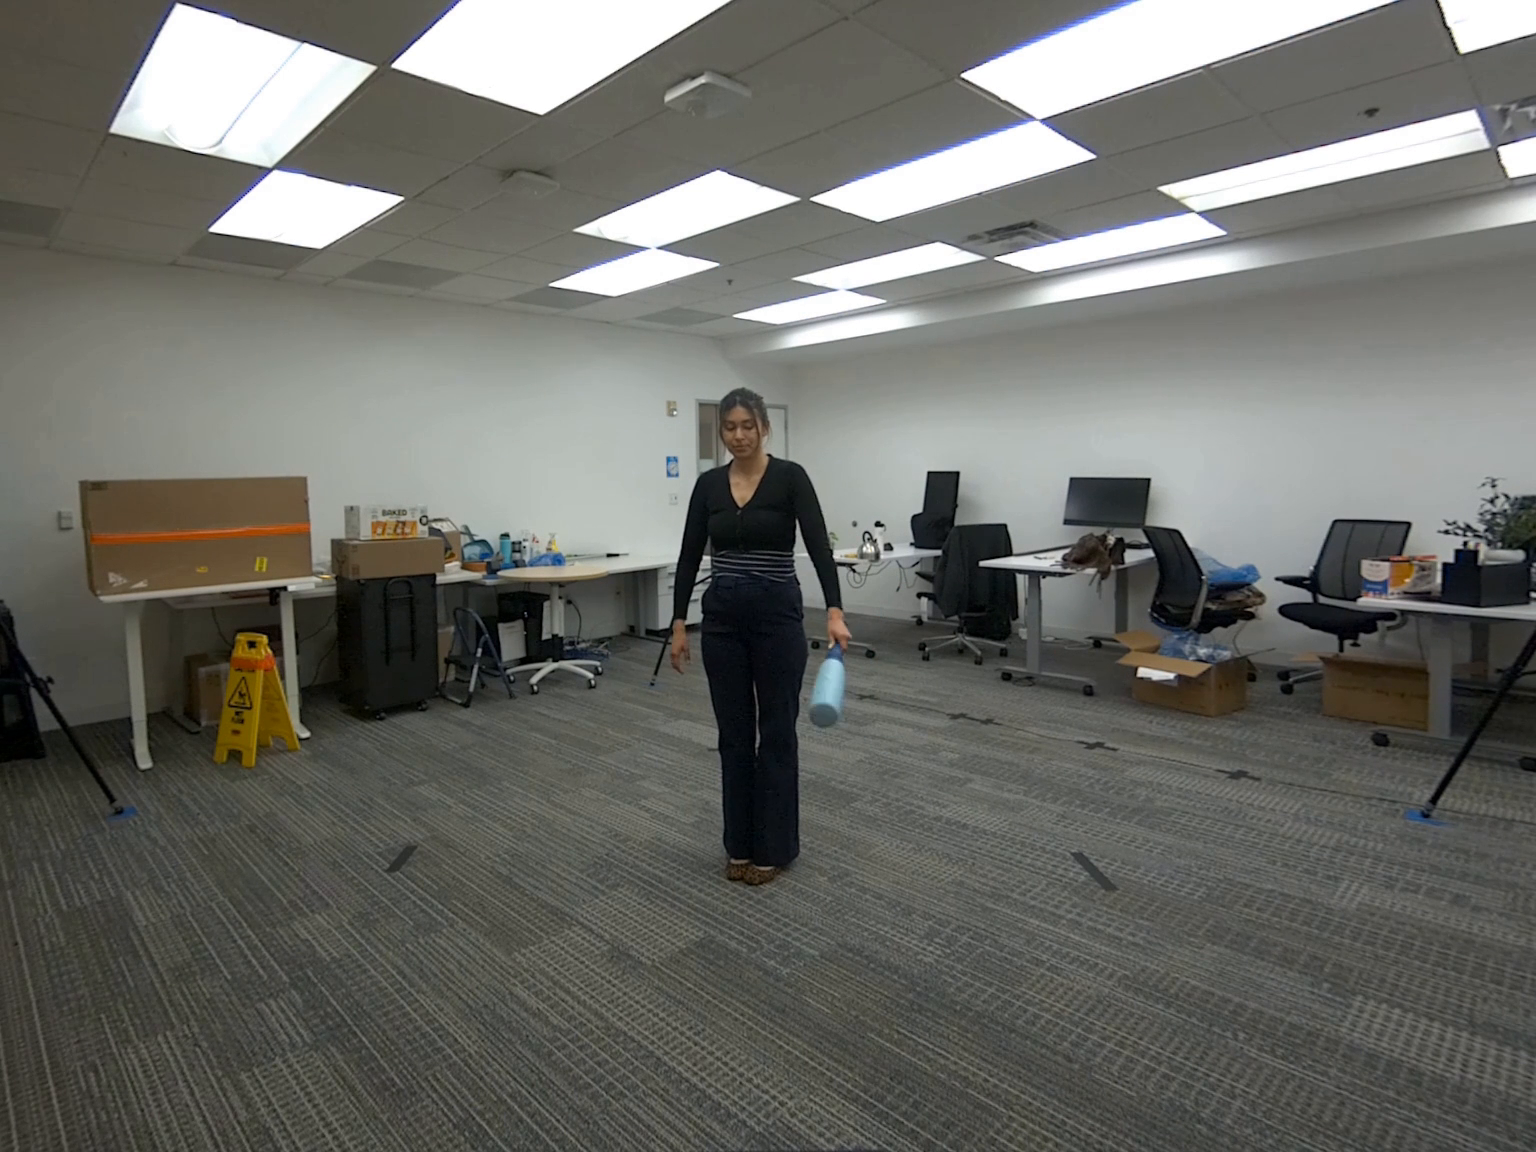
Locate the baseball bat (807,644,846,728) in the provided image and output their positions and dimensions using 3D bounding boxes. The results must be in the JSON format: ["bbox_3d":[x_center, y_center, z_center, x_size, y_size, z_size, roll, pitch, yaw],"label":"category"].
[{"bbox_3d":[0.198,0.256,2.538,0.090,0.087,0.546,0,23,13],"label":"baseball bat"}]
